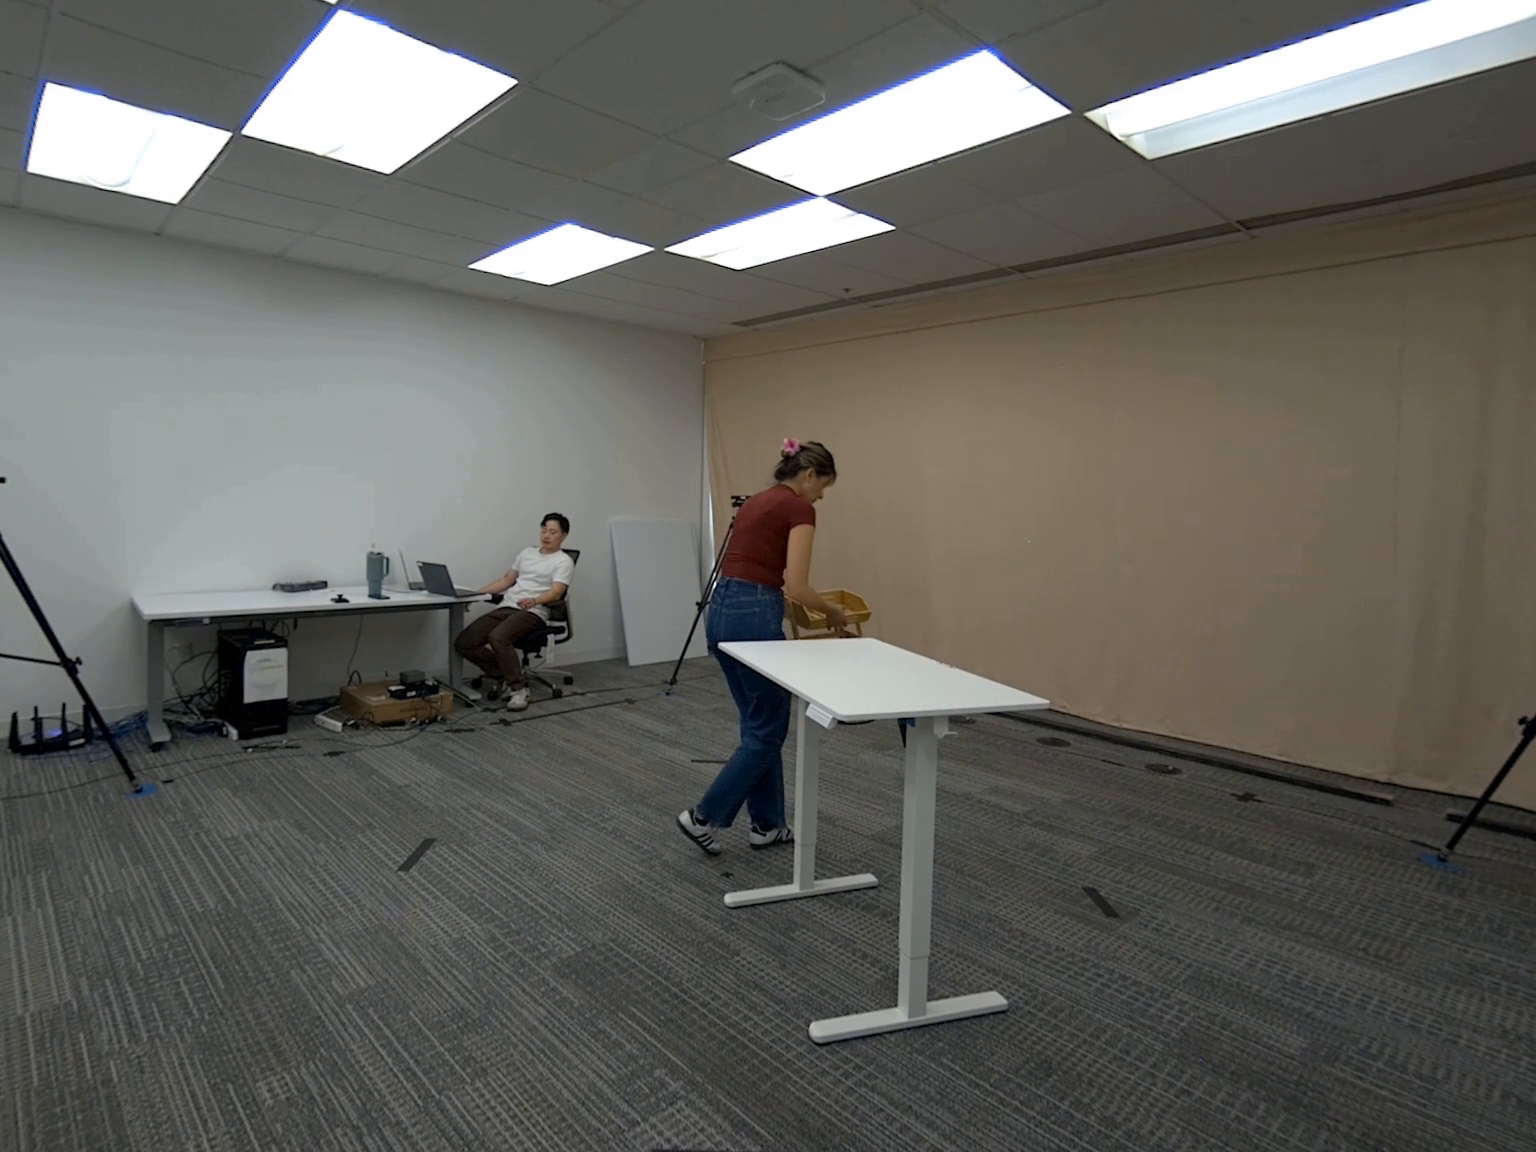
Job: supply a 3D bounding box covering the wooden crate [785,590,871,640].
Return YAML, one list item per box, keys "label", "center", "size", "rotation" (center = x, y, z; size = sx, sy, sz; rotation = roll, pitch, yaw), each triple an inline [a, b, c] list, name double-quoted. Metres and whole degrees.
- label: "wooden crate"
  center: [0.262, 0.227, 3.445]
  size: [0.318, 0.271, 0.310]
  rotation: [-6, 13, -30]
